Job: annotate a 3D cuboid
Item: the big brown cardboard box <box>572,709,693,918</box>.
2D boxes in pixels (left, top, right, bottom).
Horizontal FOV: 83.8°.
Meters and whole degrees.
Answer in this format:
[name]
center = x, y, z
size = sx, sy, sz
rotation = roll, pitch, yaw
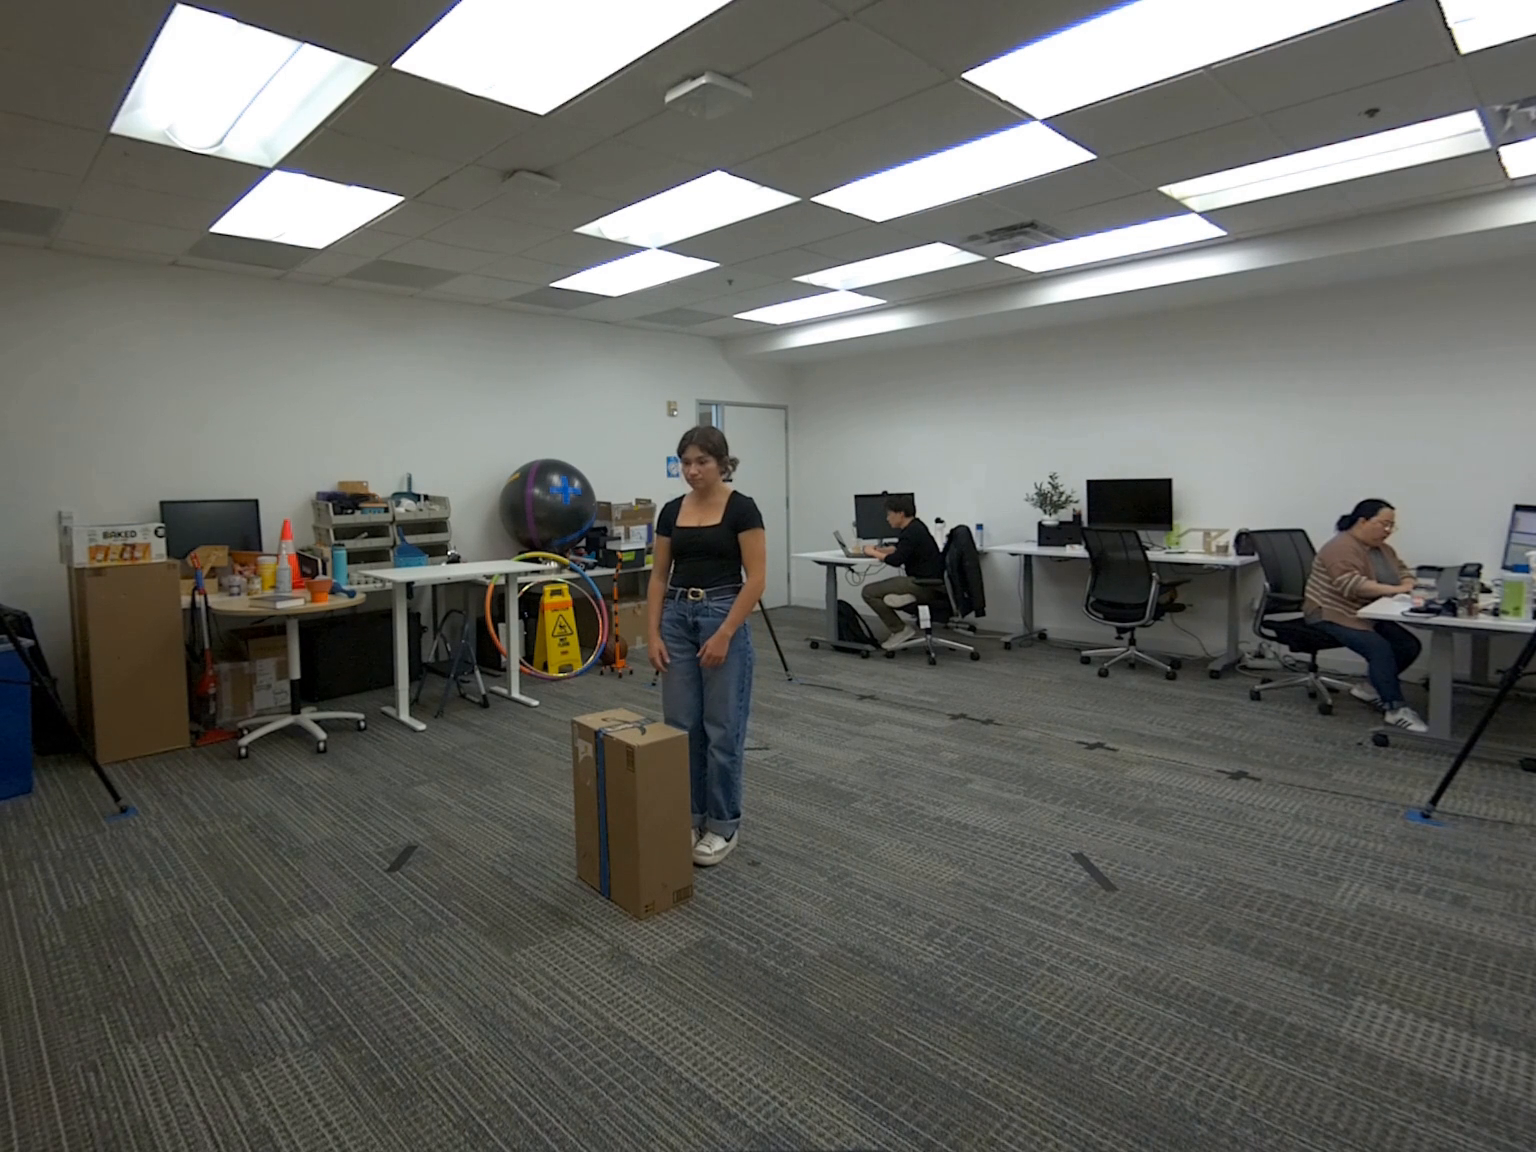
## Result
[big brown cardboard box]
center = -0.470, 0.783, 2.923
size = 0.227, 0.587, 0.430
rotation = -5, 5, -40
